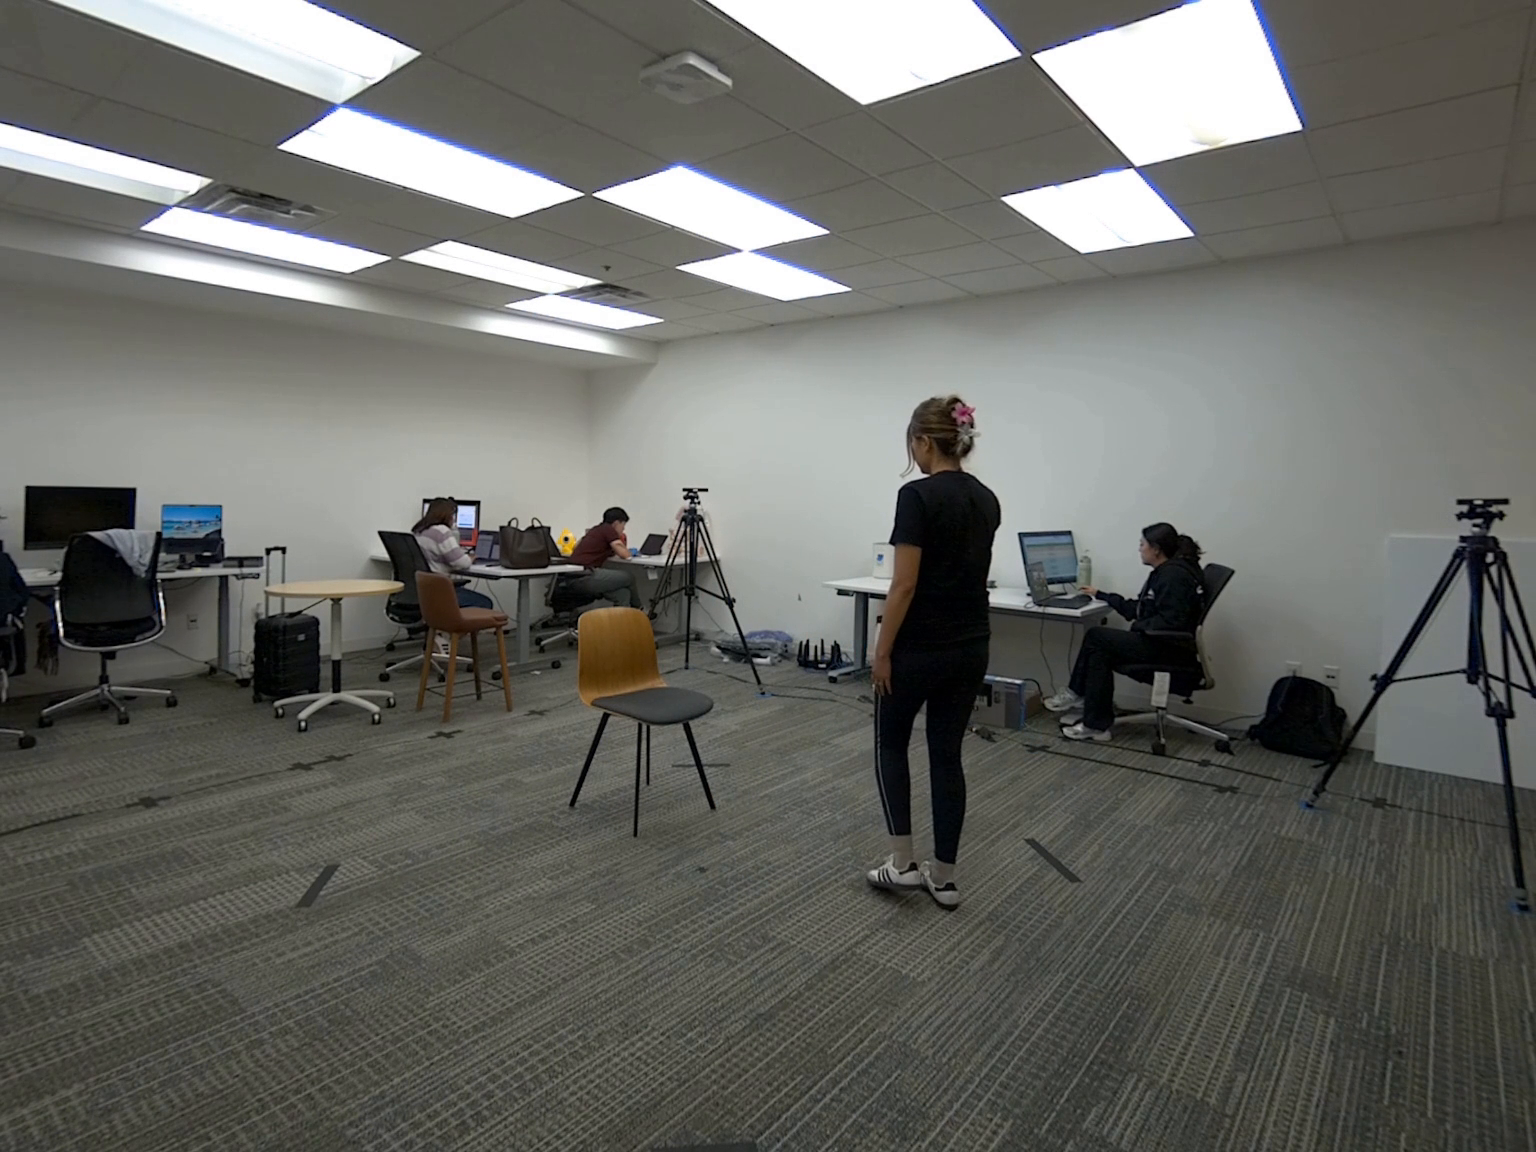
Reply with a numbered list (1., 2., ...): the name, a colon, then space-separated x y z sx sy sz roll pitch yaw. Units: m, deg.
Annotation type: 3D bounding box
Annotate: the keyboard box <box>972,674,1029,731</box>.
1. keyboard box: 0.734 0.454 3.216 0.451 0.175 0.057 5 8 35
